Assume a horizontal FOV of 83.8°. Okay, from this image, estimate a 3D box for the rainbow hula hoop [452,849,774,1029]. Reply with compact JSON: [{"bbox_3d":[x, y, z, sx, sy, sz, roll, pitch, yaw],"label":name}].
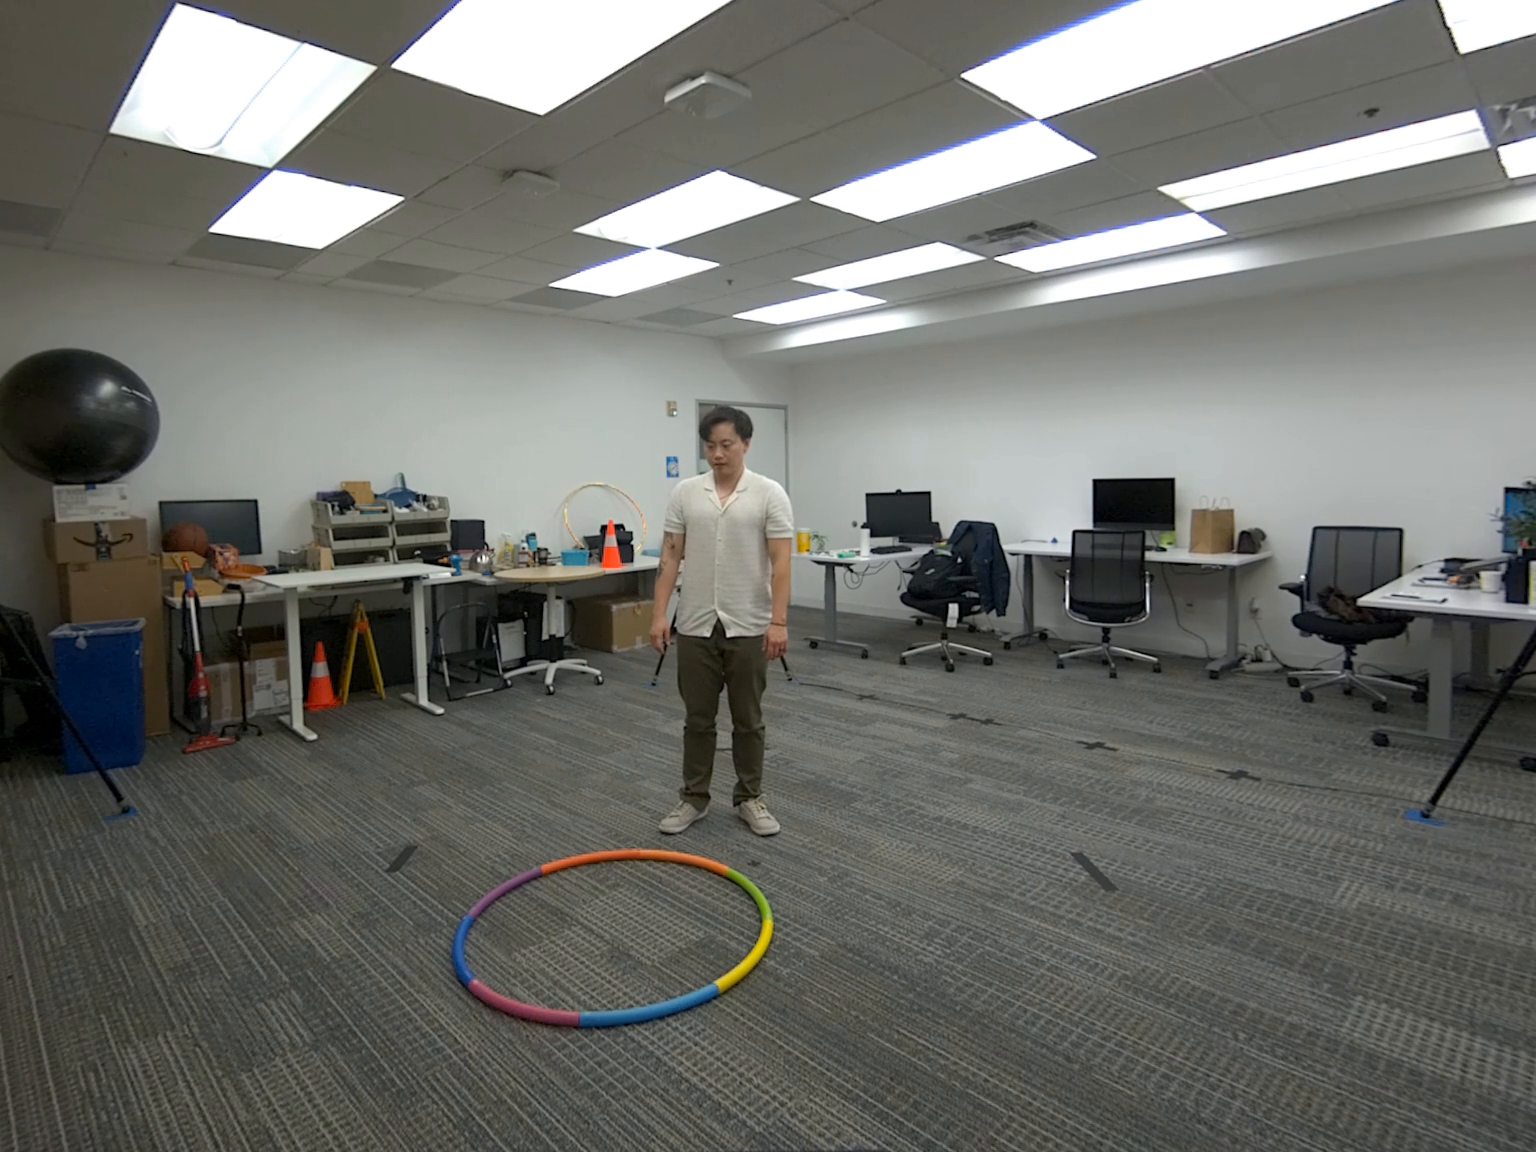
[{"bbox_3d":[-0.465,1.071,2.681,0.978,0.035,0.984,-2,7,-2],"label":"rainbow hula hoop"}]
